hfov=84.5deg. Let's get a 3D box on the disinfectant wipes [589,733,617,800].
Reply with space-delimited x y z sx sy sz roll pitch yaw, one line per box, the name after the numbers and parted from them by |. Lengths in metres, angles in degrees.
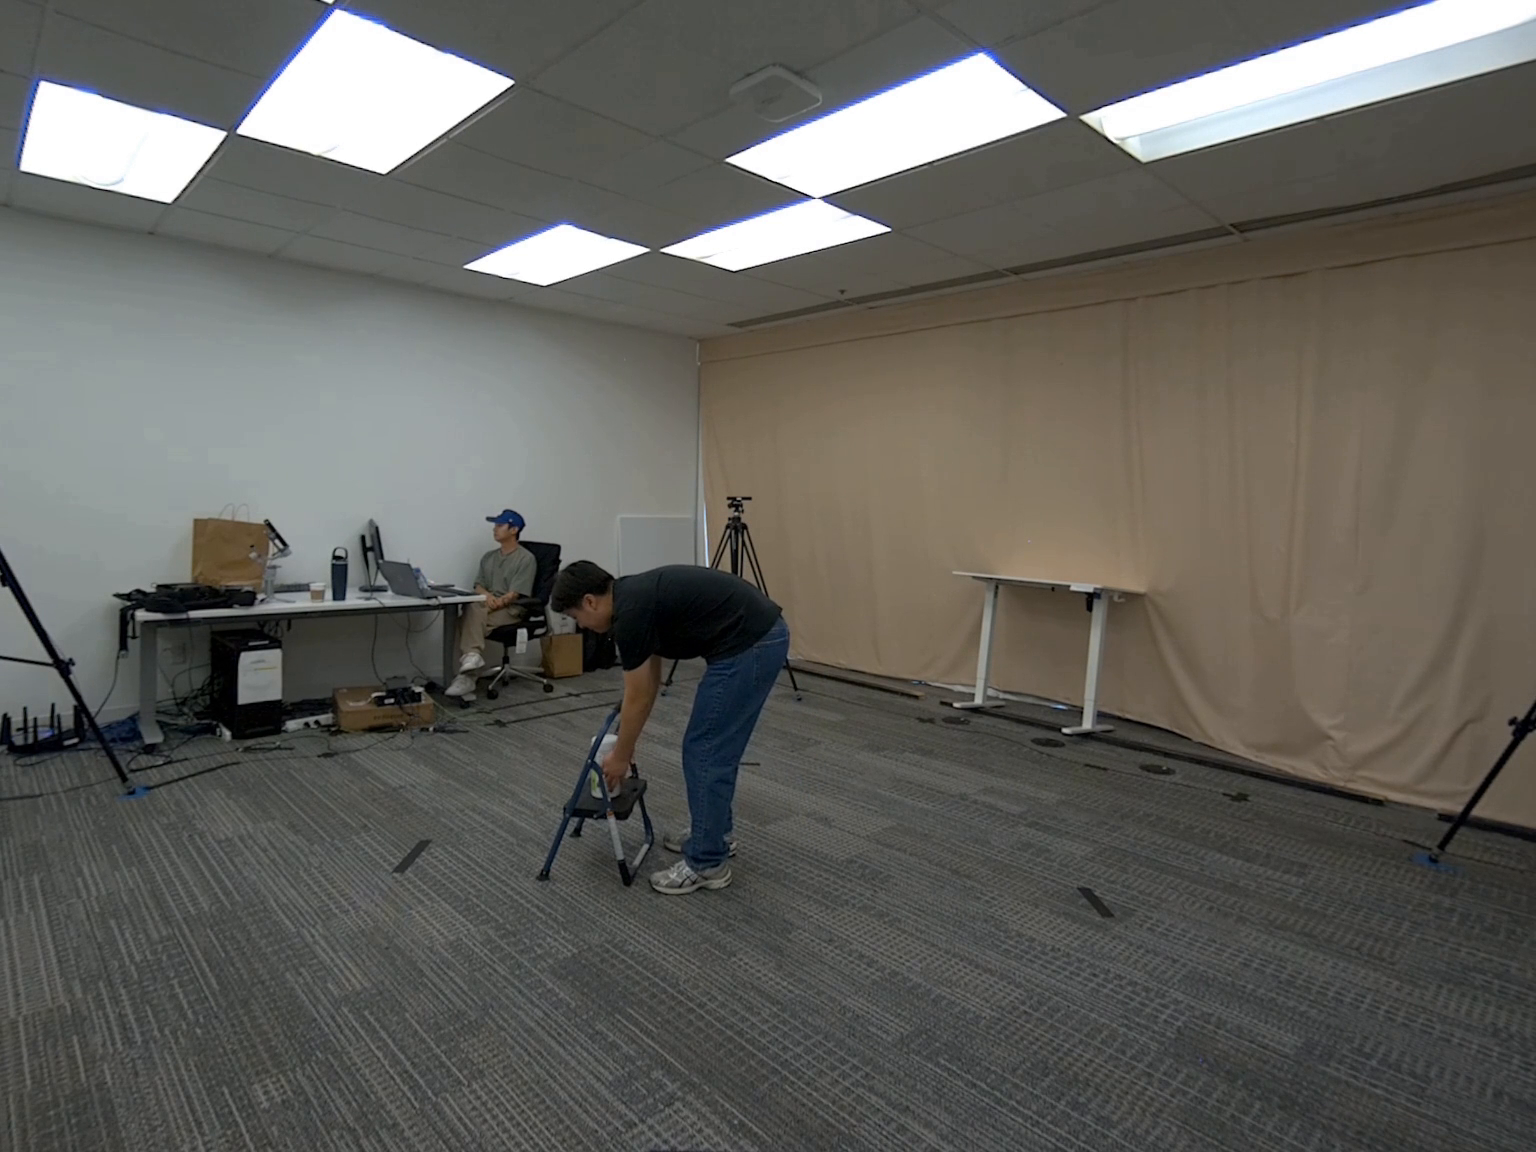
-0.605 0.718 3.170 0.118 0.217 0.118 0 3 -1 | disinfectant wipes
